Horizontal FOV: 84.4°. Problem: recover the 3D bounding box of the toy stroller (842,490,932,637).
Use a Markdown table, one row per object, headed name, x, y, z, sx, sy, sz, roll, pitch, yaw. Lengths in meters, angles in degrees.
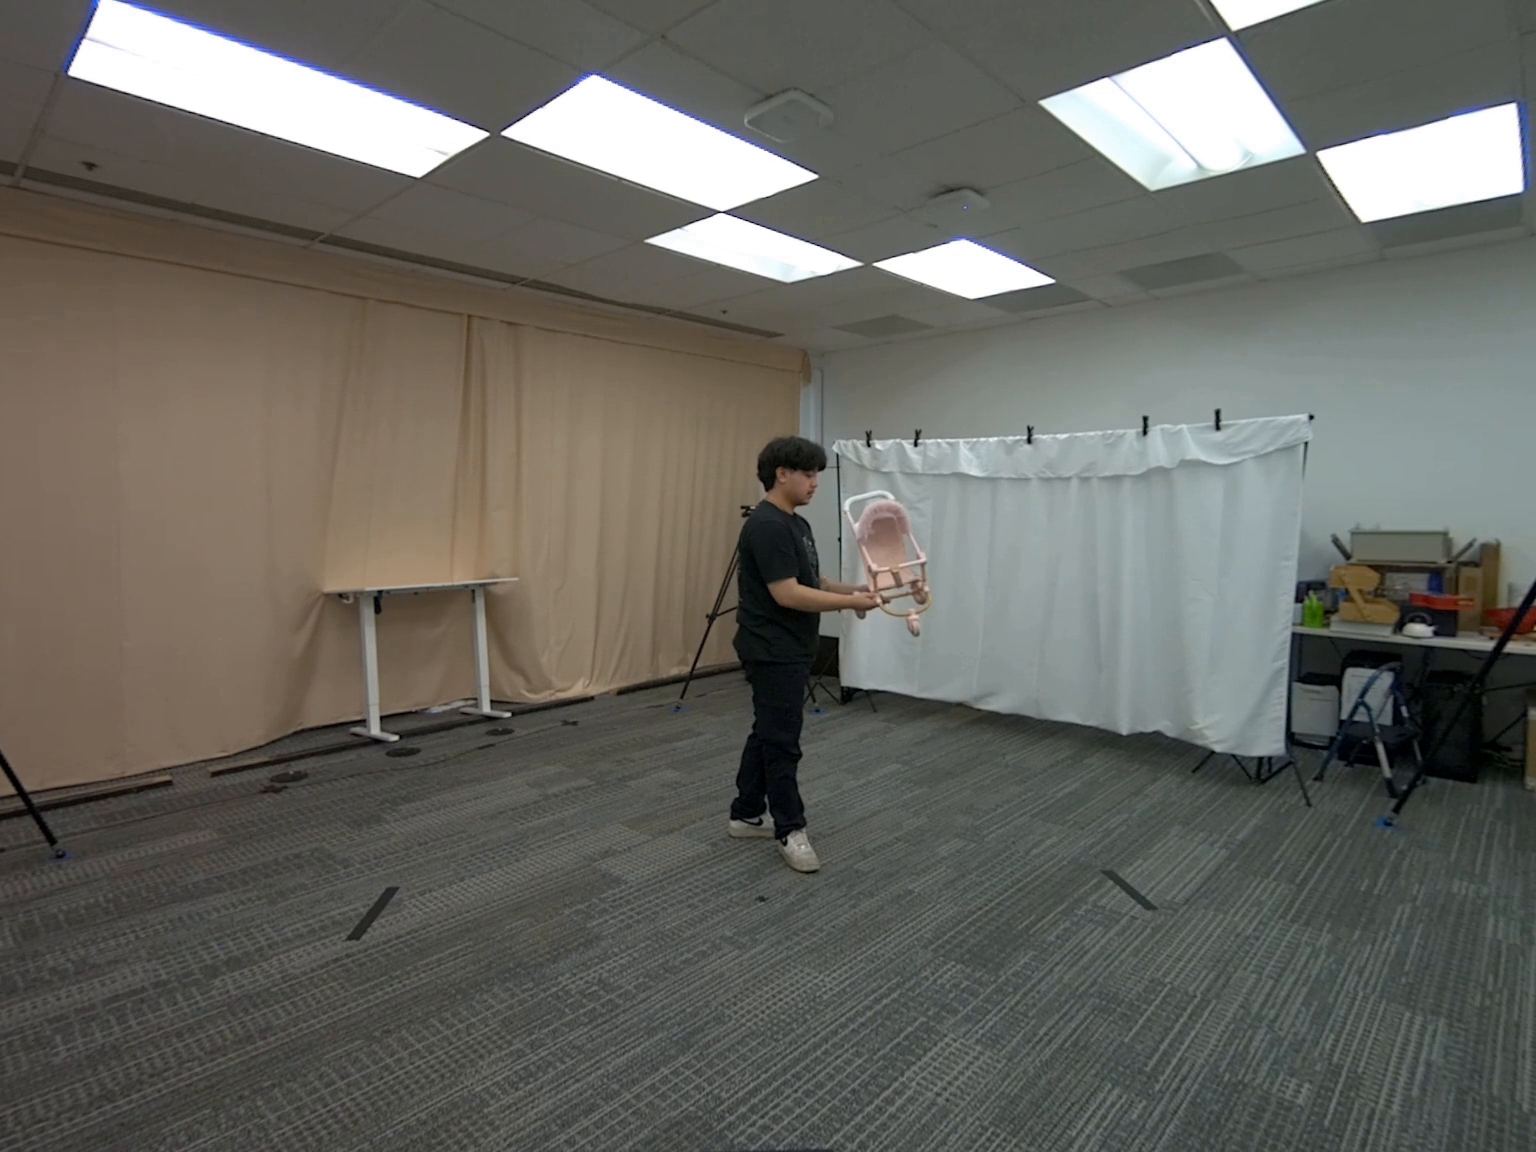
| name | x | y | z | sx | sy | sz | roll | pitch | yaw |
| --- | --- | --- | --- | --- | --- | --- | --- | --- | --- |
| toy stroller | 0.459 | -0.051 | 3.153 | 0.280 | 0.533 | 0.344 | -12 | 4 | -5 |
